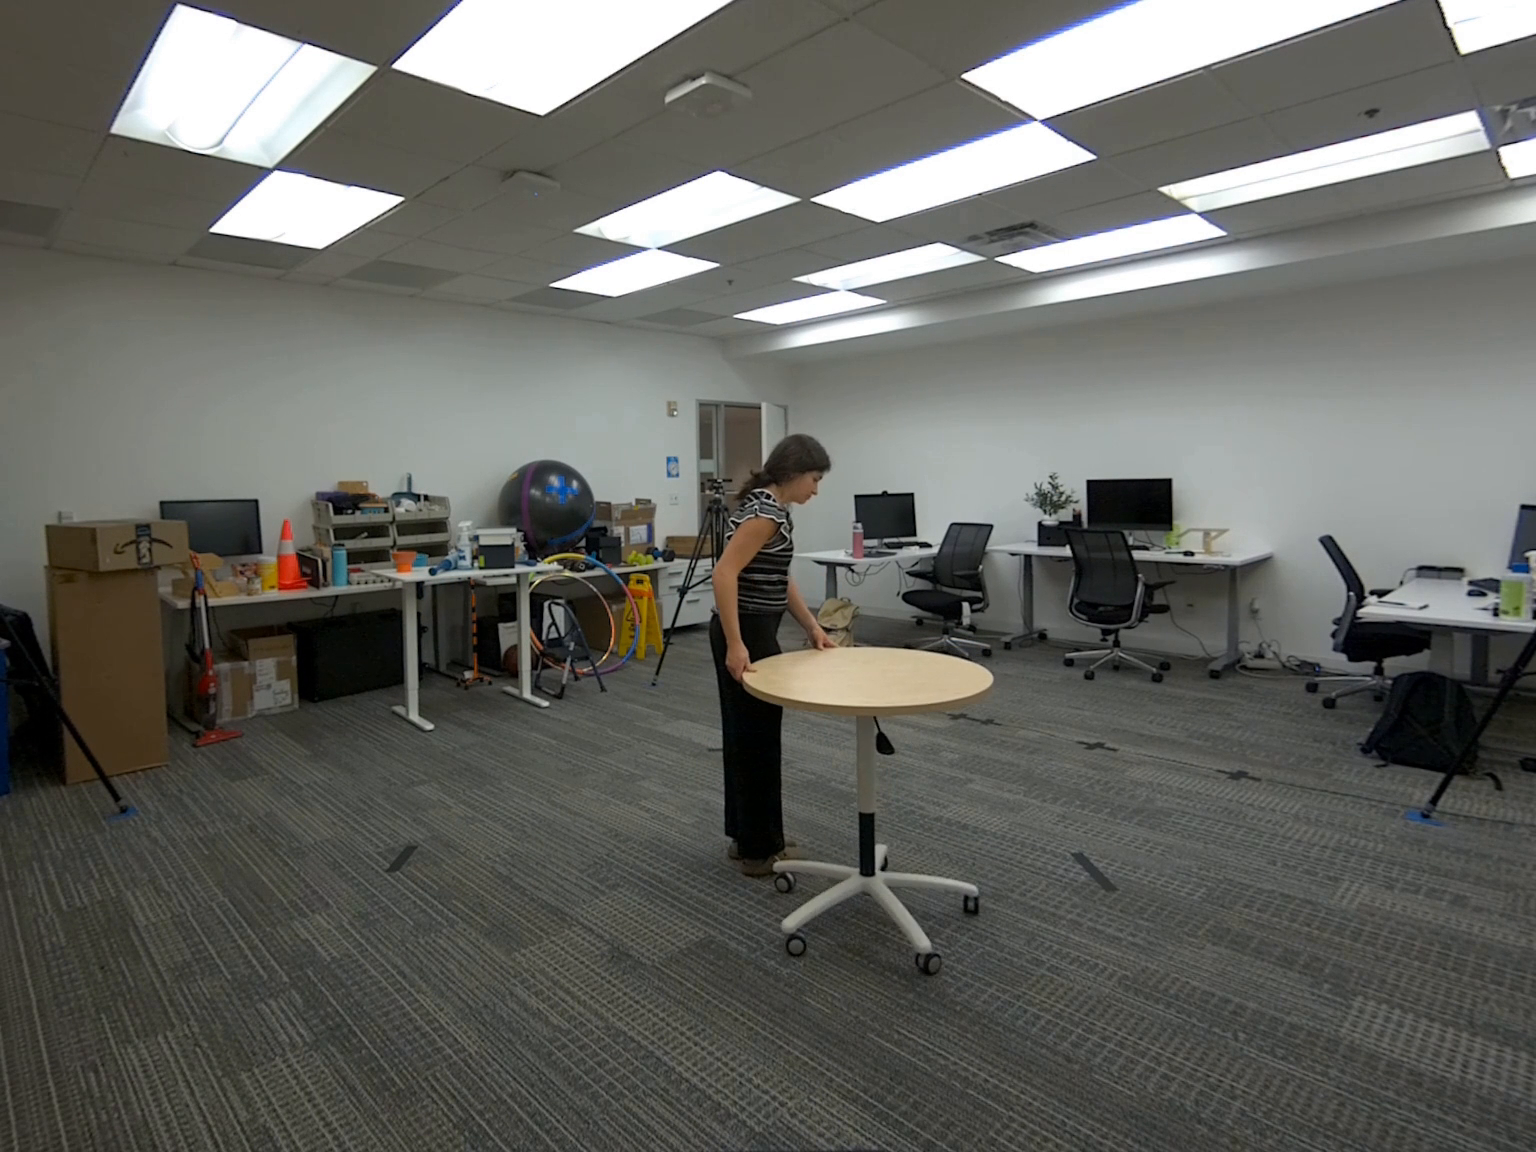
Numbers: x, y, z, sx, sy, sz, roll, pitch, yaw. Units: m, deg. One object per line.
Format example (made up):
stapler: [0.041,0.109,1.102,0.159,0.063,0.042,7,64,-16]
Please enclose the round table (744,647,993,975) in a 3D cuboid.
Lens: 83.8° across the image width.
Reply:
round table: [0.308,0.688,2.702,0.784,0.783,0.790,-1,6,-2]
